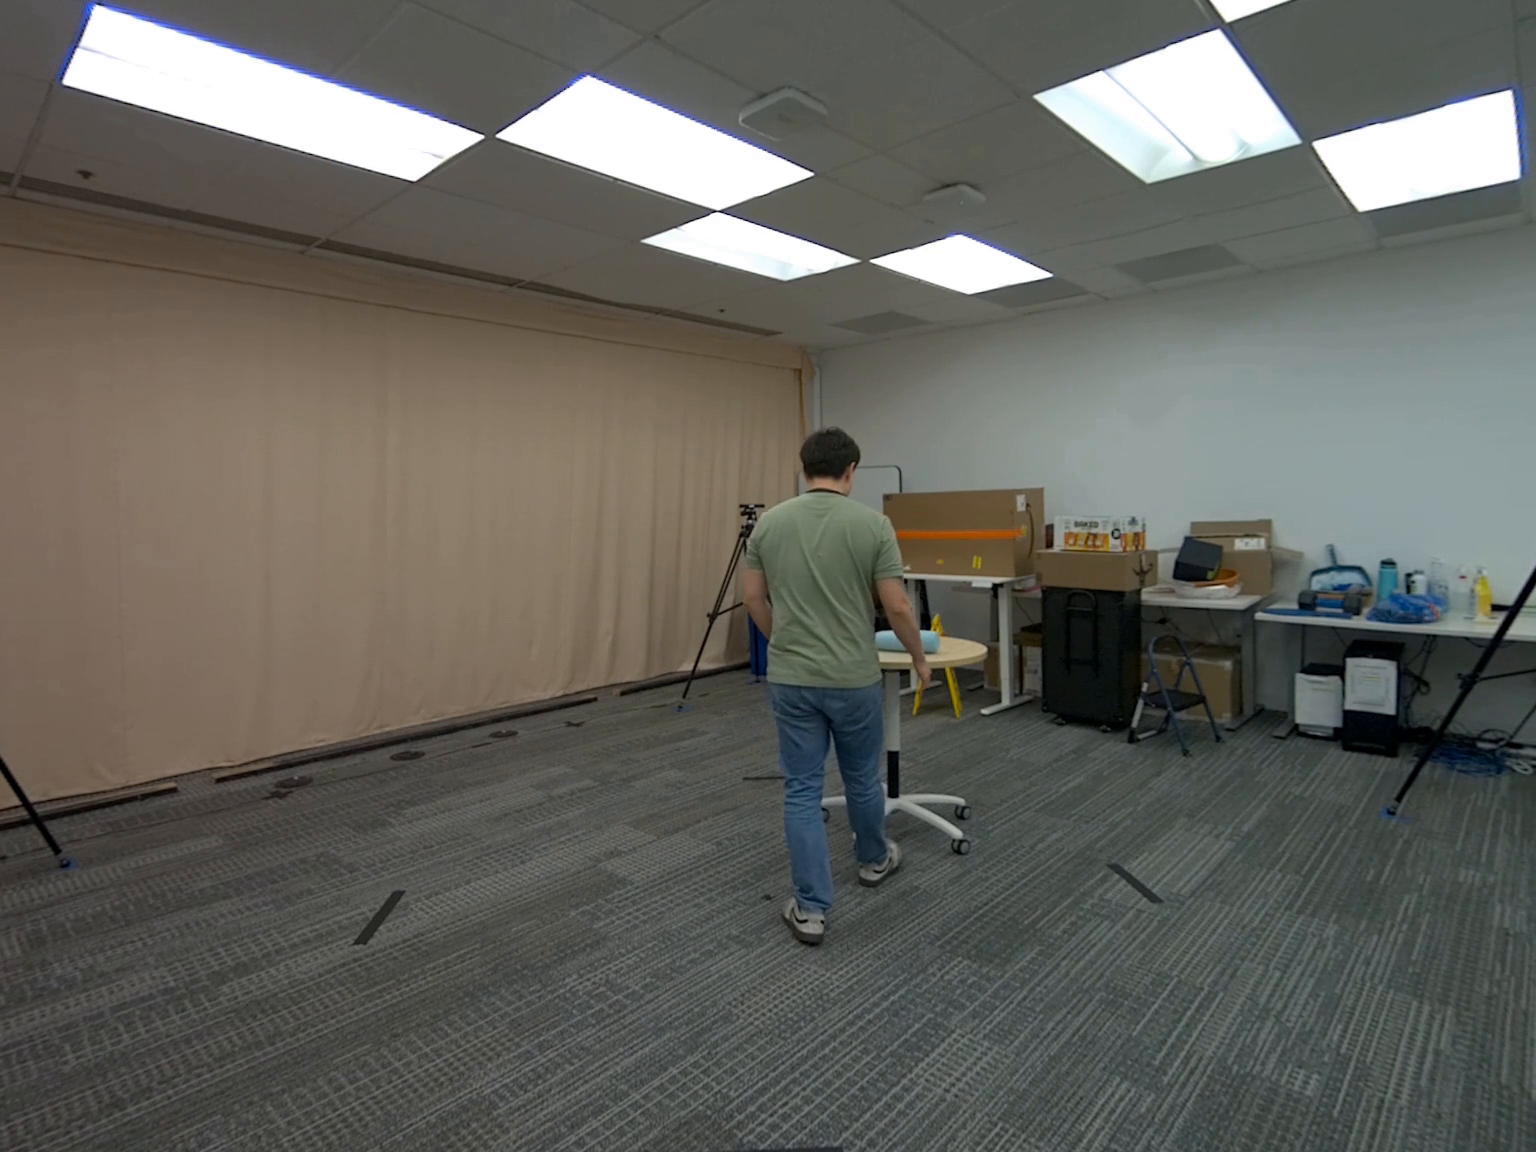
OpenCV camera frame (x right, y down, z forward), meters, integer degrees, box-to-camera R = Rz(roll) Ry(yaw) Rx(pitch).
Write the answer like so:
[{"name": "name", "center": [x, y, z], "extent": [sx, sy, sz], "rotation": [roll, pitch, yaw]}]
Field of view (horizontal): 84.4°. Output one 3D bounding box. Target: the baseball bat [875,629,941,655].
[{"name": "baseball bat", "center": [0.435, 0.269, 3.488], "extent": [0.558, 0.089, 0.087], "rotation": [-1, 3, 29]}]
